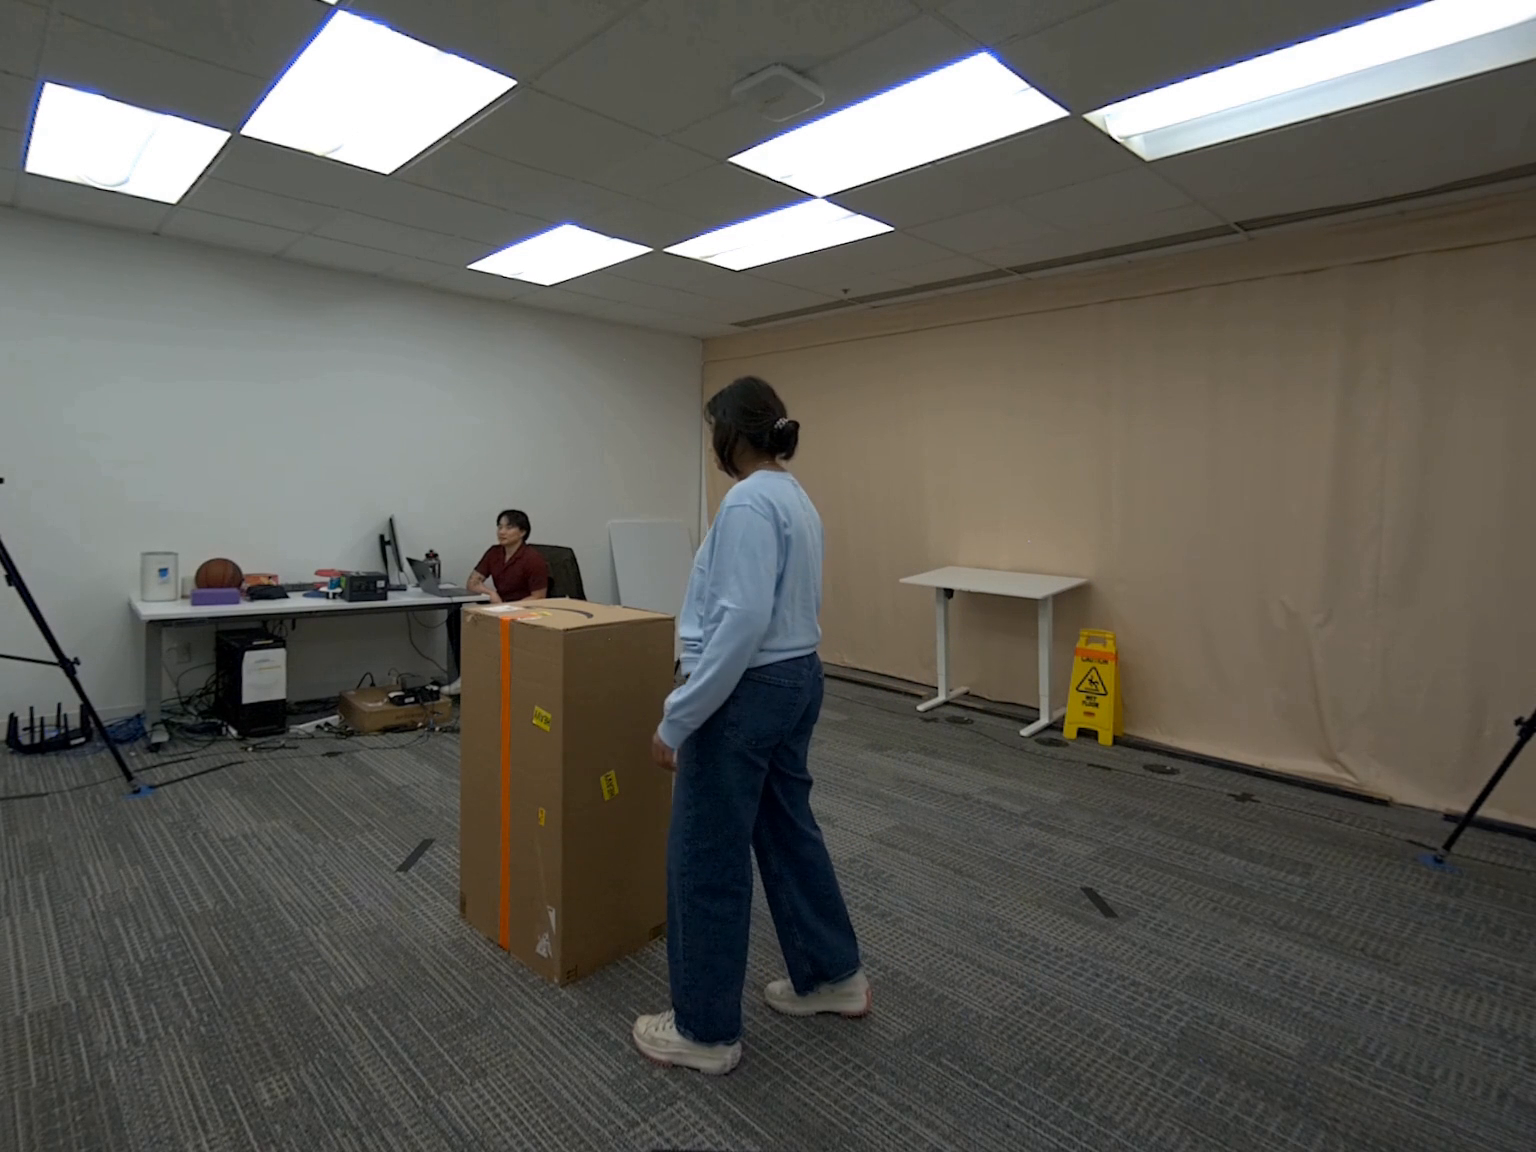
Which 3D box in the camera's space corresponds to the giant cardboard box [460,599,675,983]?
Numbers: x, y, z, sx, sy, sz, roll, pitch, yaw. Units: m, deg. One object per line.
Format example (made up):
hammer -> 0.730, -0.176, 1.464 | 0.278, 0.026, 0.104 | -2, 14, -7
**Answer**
giant cardboard box -> -0.661, 0.624, 2.689 | 0.592, 1.023, 0.416 | 5, 5, 43
